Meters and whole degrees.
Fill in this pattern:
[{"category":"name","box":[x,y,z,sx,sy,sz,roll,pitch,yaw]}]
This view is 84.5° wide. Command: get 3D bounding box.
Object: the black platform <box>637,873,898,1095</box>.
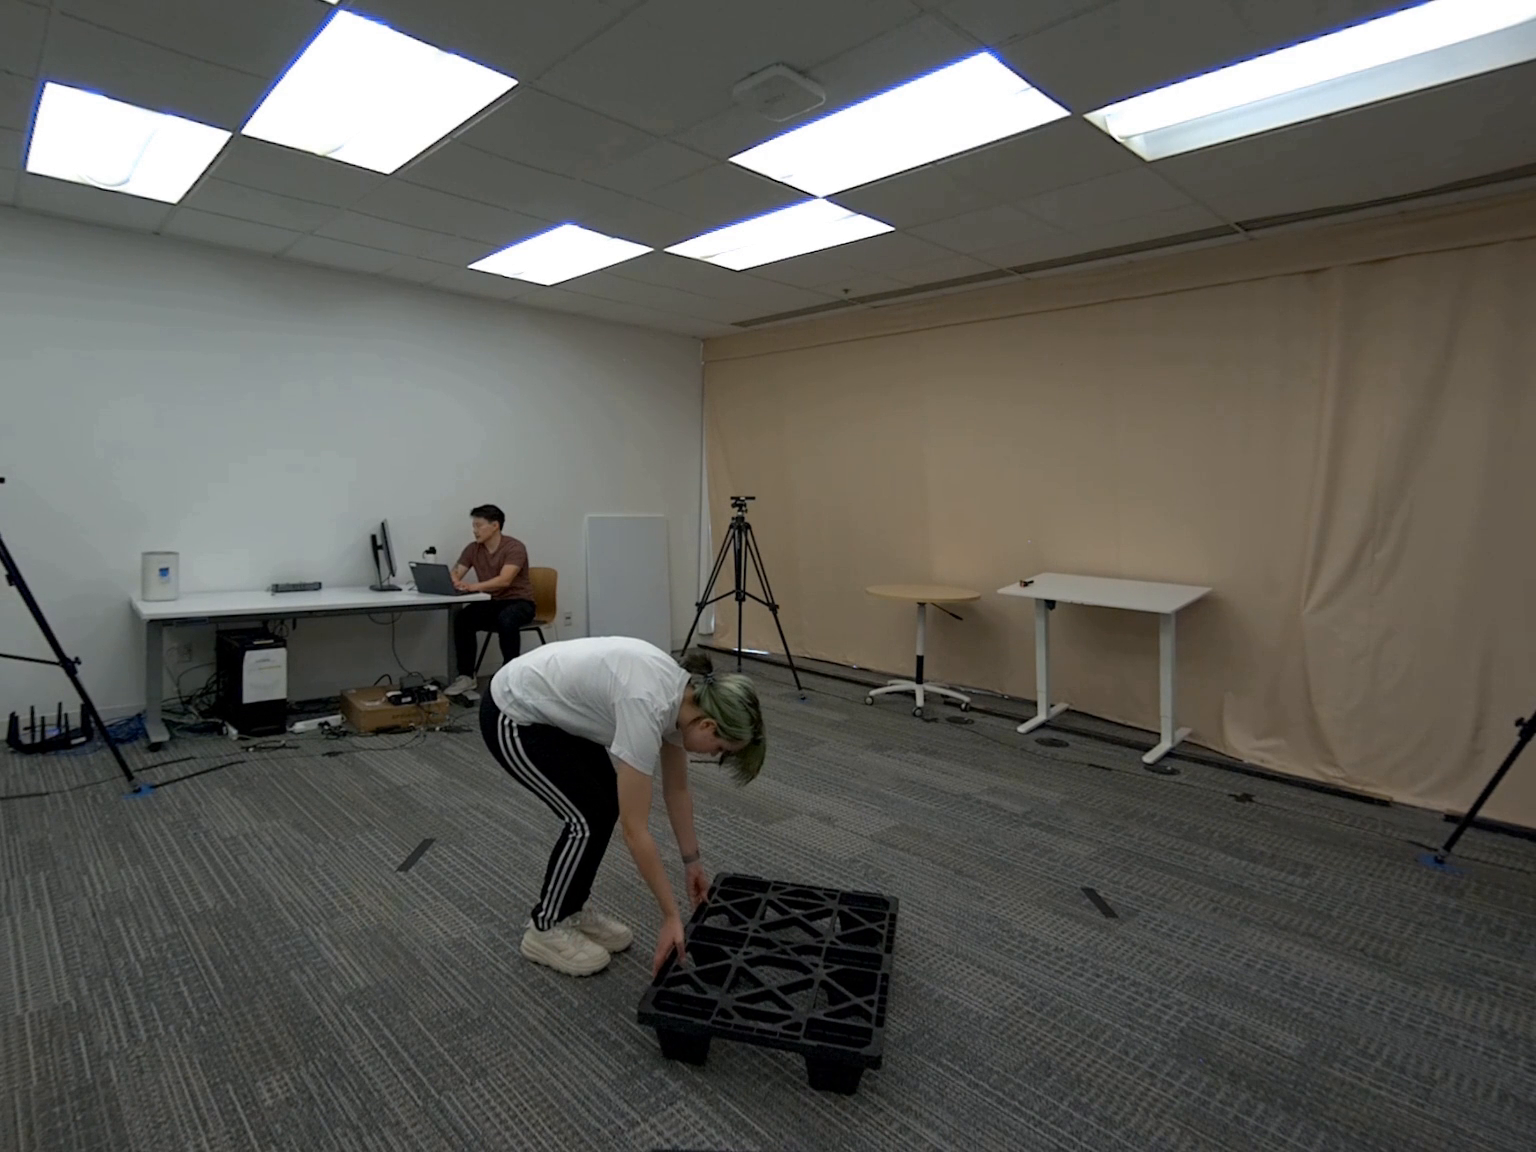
[{"category":"black platform","box":[0.038,1.107,2.377,0.612,0.143,0.799,4,6,12]}]
